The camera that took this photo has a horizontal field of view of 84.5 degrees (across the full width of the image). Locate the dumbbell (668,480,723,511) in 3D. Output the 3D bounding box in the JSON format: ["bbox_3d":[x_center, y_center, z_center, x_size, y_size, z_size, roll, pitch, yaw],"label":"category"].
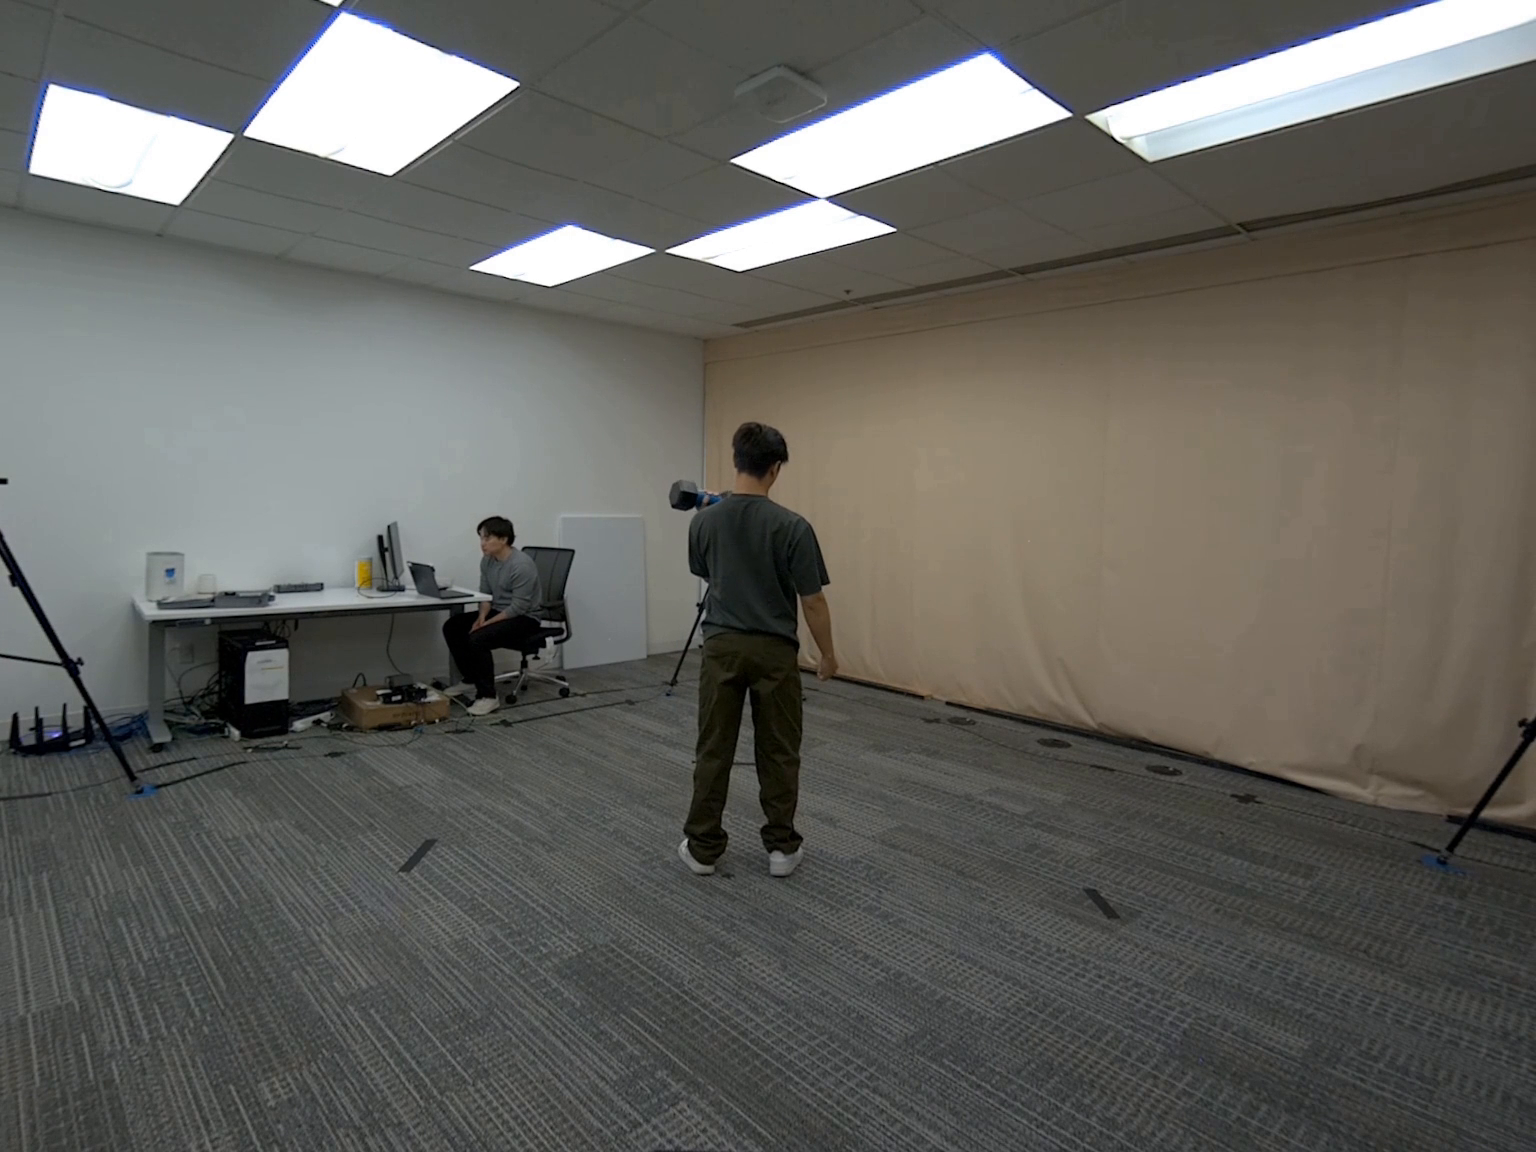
[{"bbox_3d":[-0.253,-0.304,3.364,0.286,0.110,0.125,11,-14,-30],"label":"dumbbell"}]
